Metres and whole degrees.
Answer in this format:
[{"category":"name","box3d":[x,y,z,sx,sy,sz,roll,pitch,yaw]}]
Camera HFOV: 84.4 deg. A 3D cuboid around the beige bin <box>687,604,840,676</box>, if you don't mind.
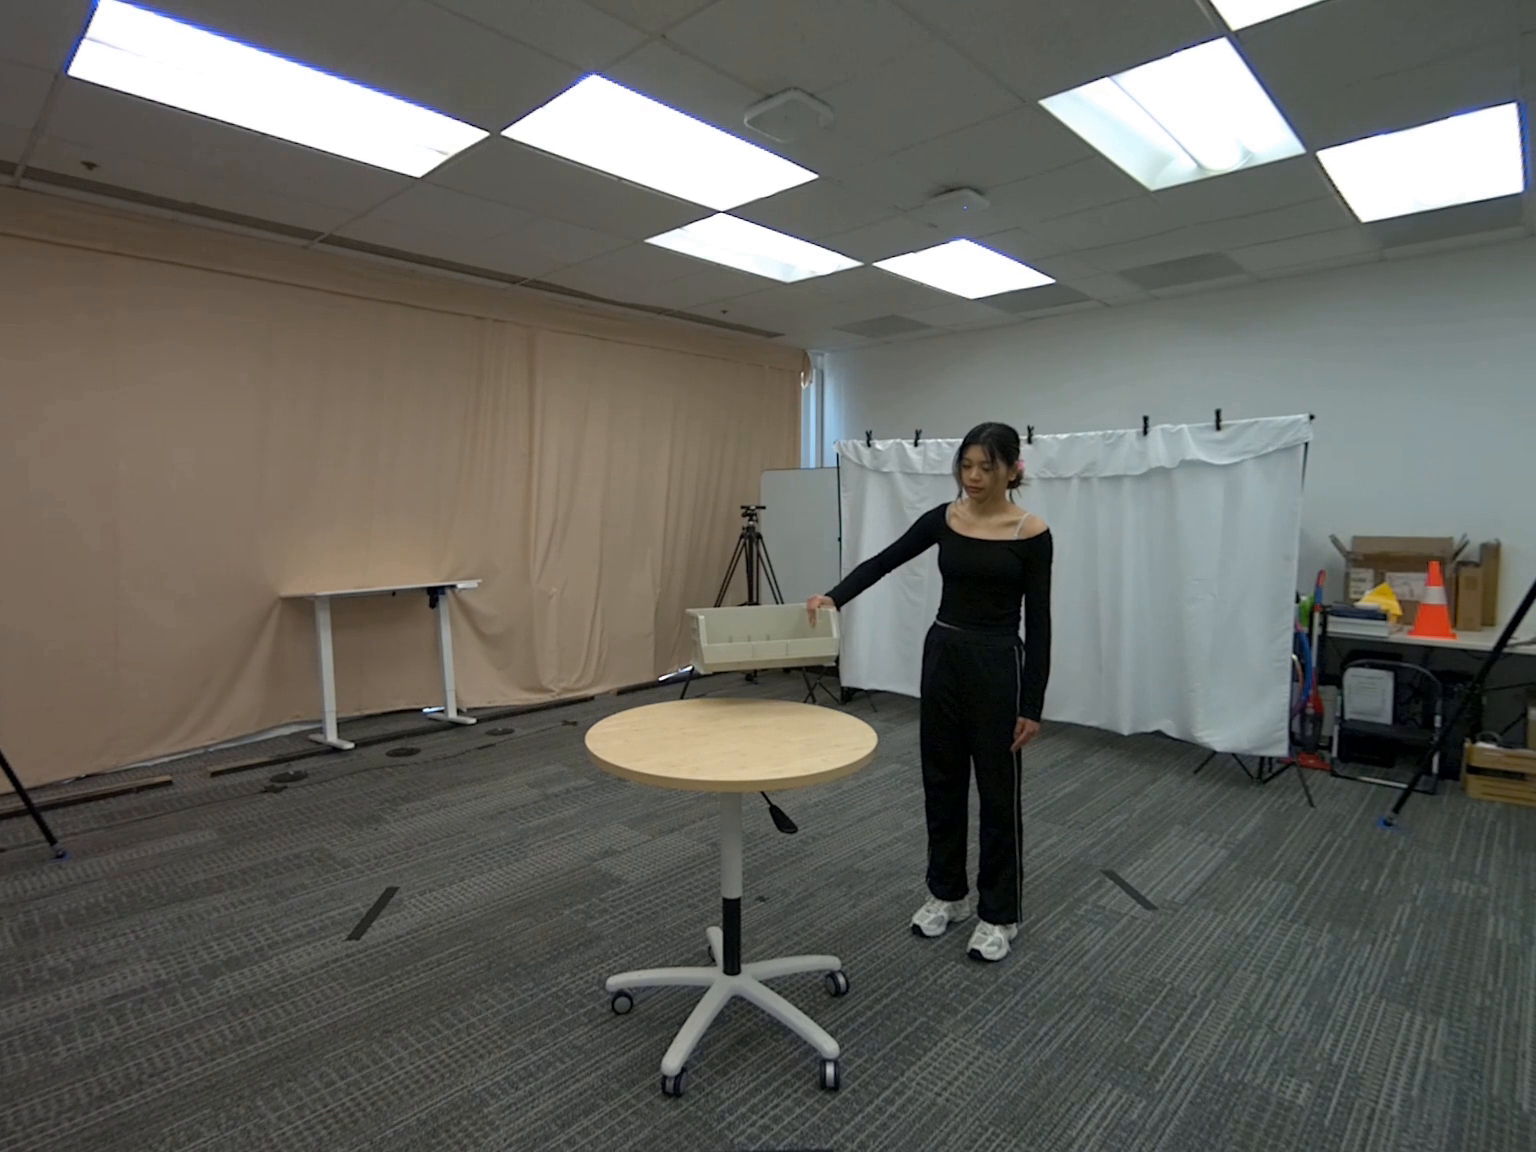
[{"category":"beige bin","box3d":[-0.025,0.195,2.652,0.419,0.189,0.380,-3,-1,-8]}]
